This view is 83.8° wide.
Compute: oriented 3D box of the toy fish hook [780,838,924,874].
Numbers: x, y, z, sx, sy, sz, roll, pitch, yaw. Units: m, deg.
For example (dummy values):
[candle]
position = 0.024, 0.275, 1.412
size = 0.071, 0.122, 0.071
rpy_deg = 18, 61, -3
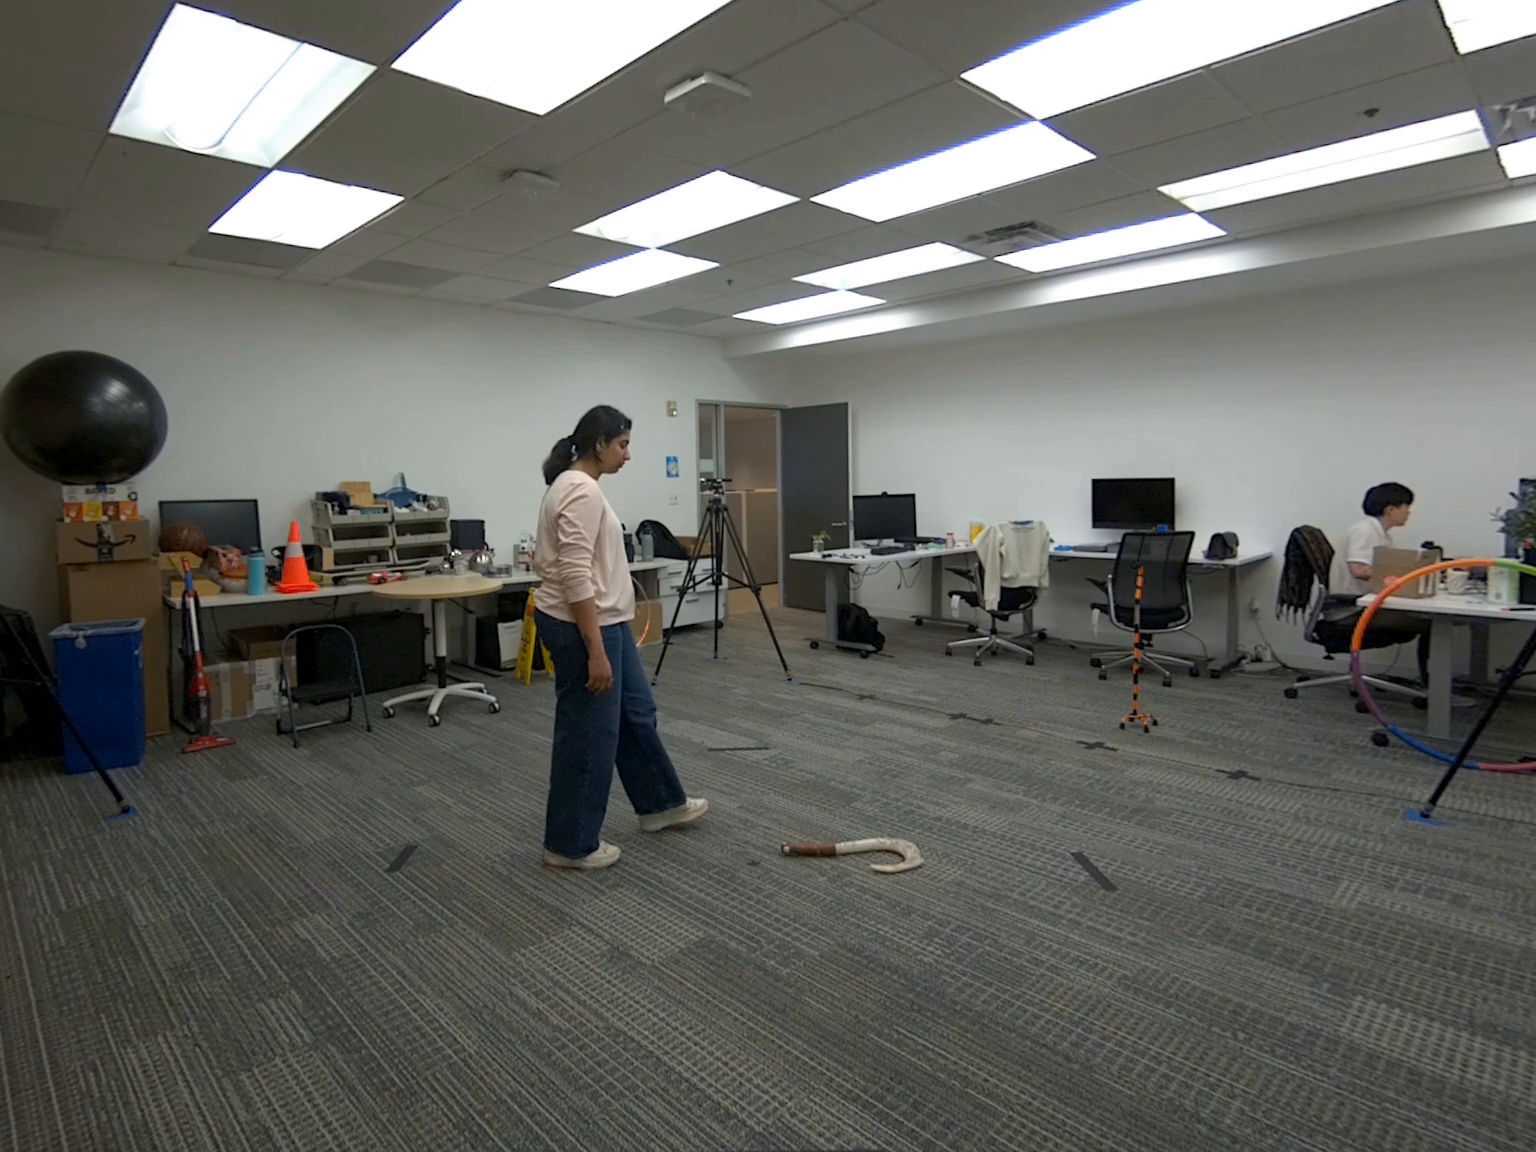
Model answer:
[toy fish hook]
position = 0.305, 1.011, 3.111
size = 0.507, 0.048, 0.225
rpy_deg = -1, 5, 0
